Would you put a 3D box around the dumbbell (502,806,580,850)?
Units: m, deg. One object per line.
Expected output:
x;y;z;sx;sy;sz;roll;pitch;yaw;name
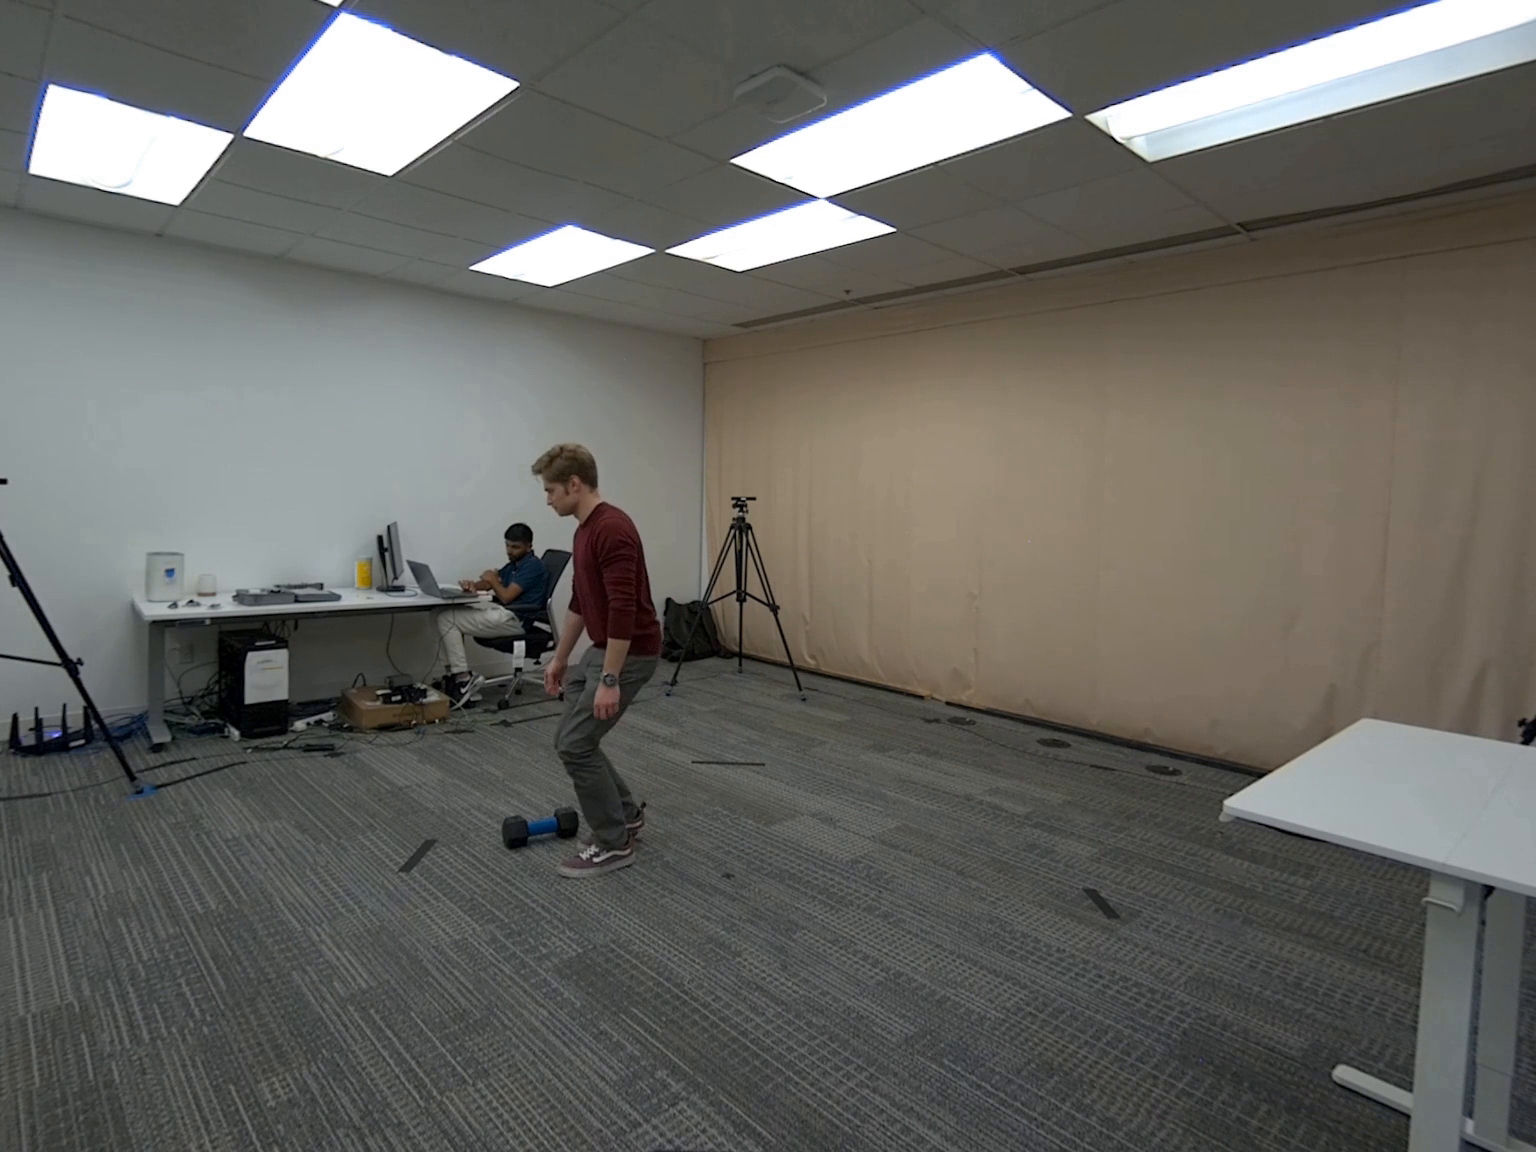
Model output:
-0.923;1.011;3.387;0.287;0.121;0.112;-2;34;-33;dumbbell
